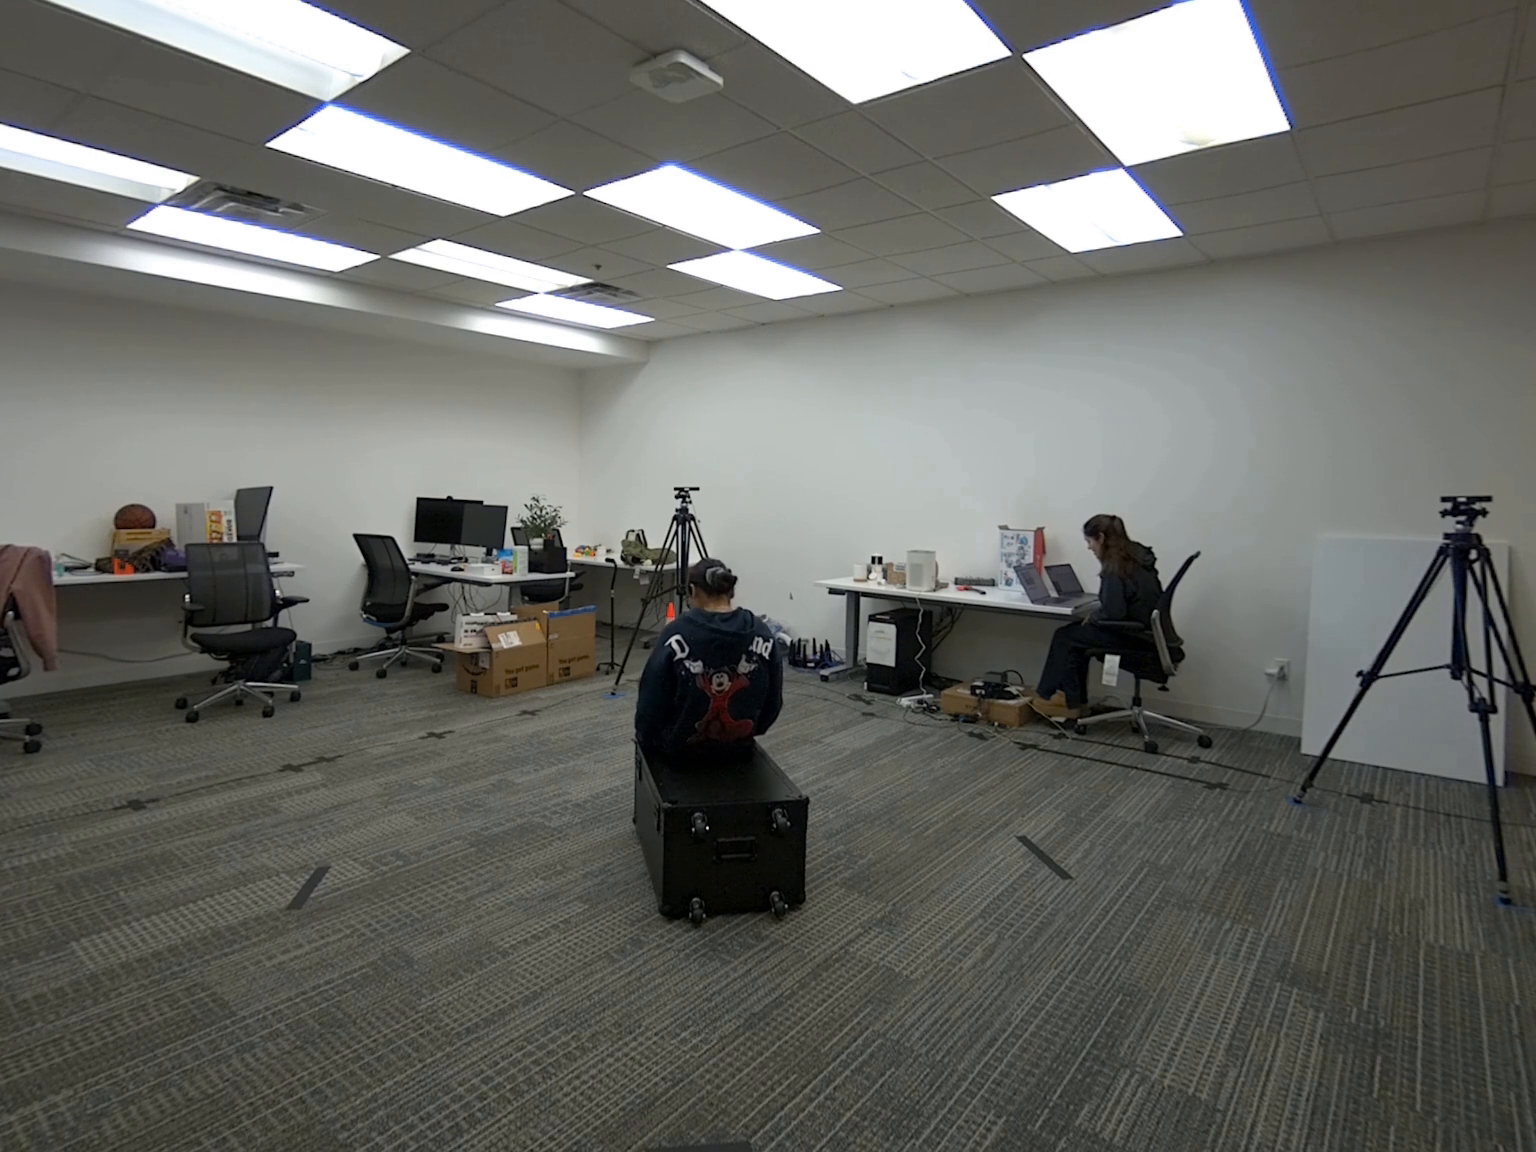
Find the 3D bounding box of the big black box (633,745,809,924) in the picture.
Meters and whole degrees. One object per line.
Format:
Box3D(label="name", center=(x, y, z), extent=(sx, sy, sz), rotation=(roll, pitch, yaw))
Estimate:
Box3D(label="big black box", center=(-0.209, 0.872, 3.091), extent=(0.513, 0.395, 0.878), rotation=(0, 5, -15))
